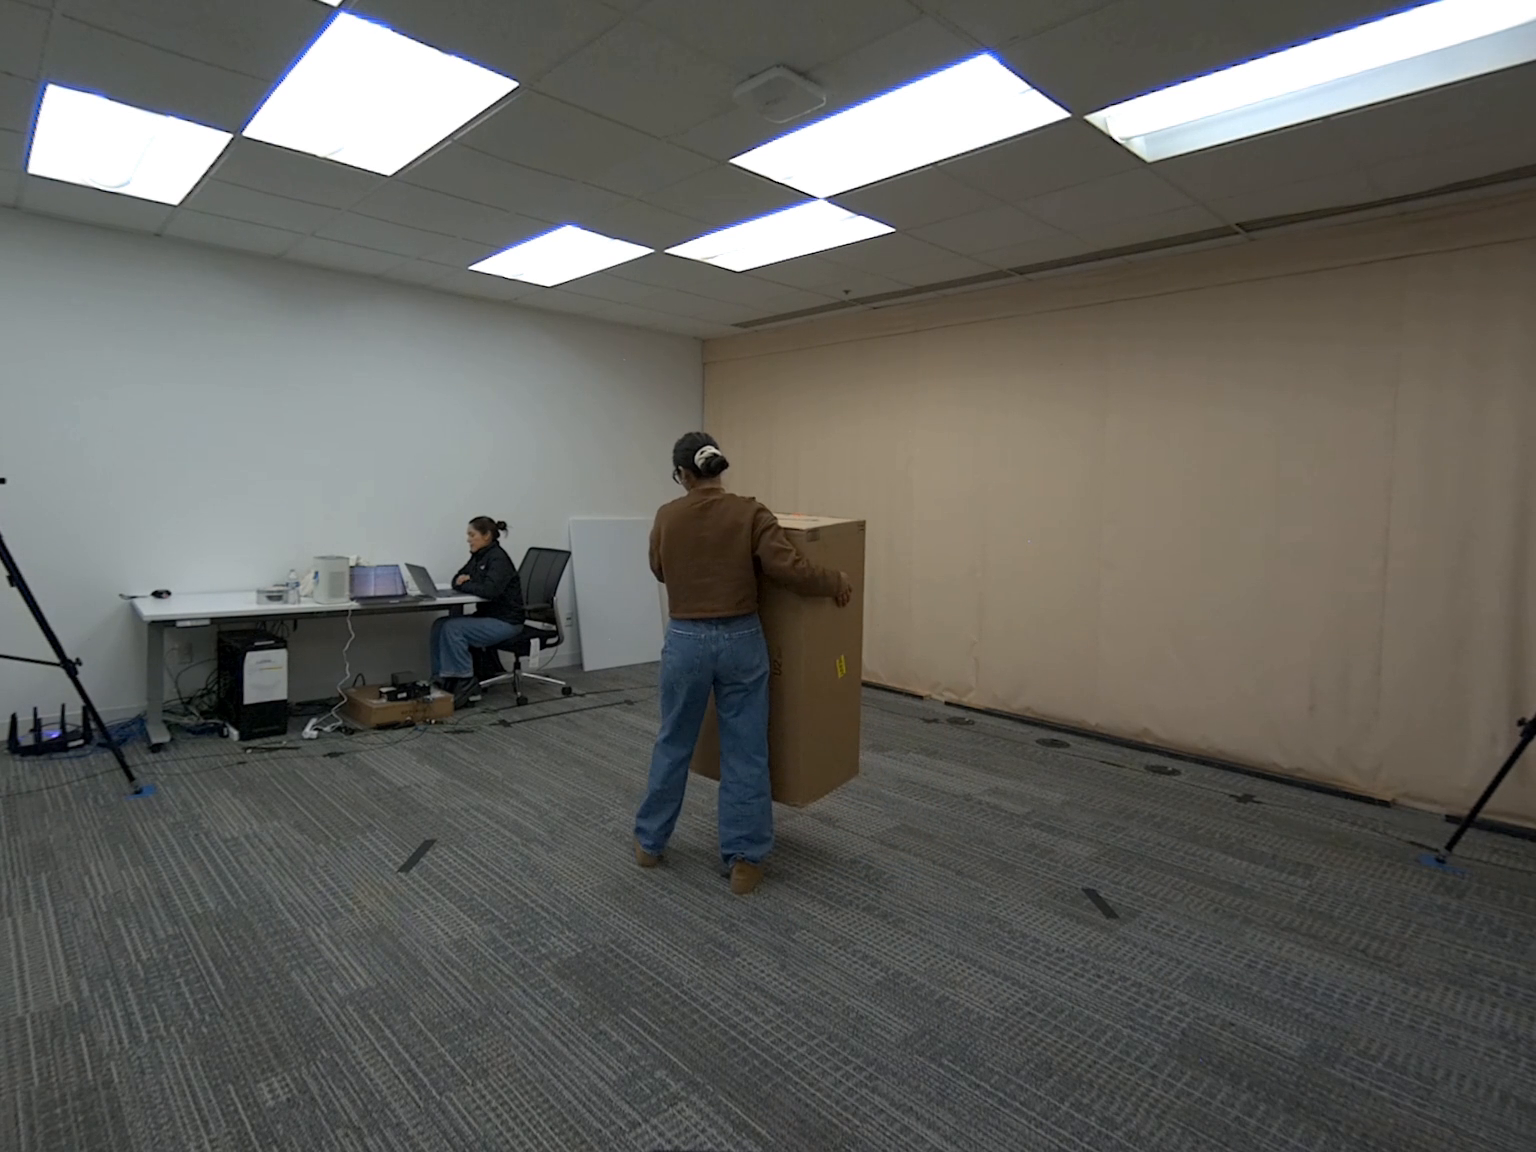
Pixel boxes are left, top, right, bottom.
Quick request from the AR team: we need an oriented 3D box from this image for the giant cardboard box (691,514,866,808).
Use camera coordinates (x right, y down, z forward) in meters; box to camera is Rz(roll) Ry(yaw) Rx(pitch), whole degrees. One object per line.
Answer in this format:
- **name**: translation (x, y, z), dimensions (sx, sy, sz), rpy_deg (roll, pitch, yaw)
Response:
- **giant cardboard box**: translation (0.018, 0.287, 3.313), dimensions (0.592, 1.020, 0.418), rpy_deg (6, 9, 37)
